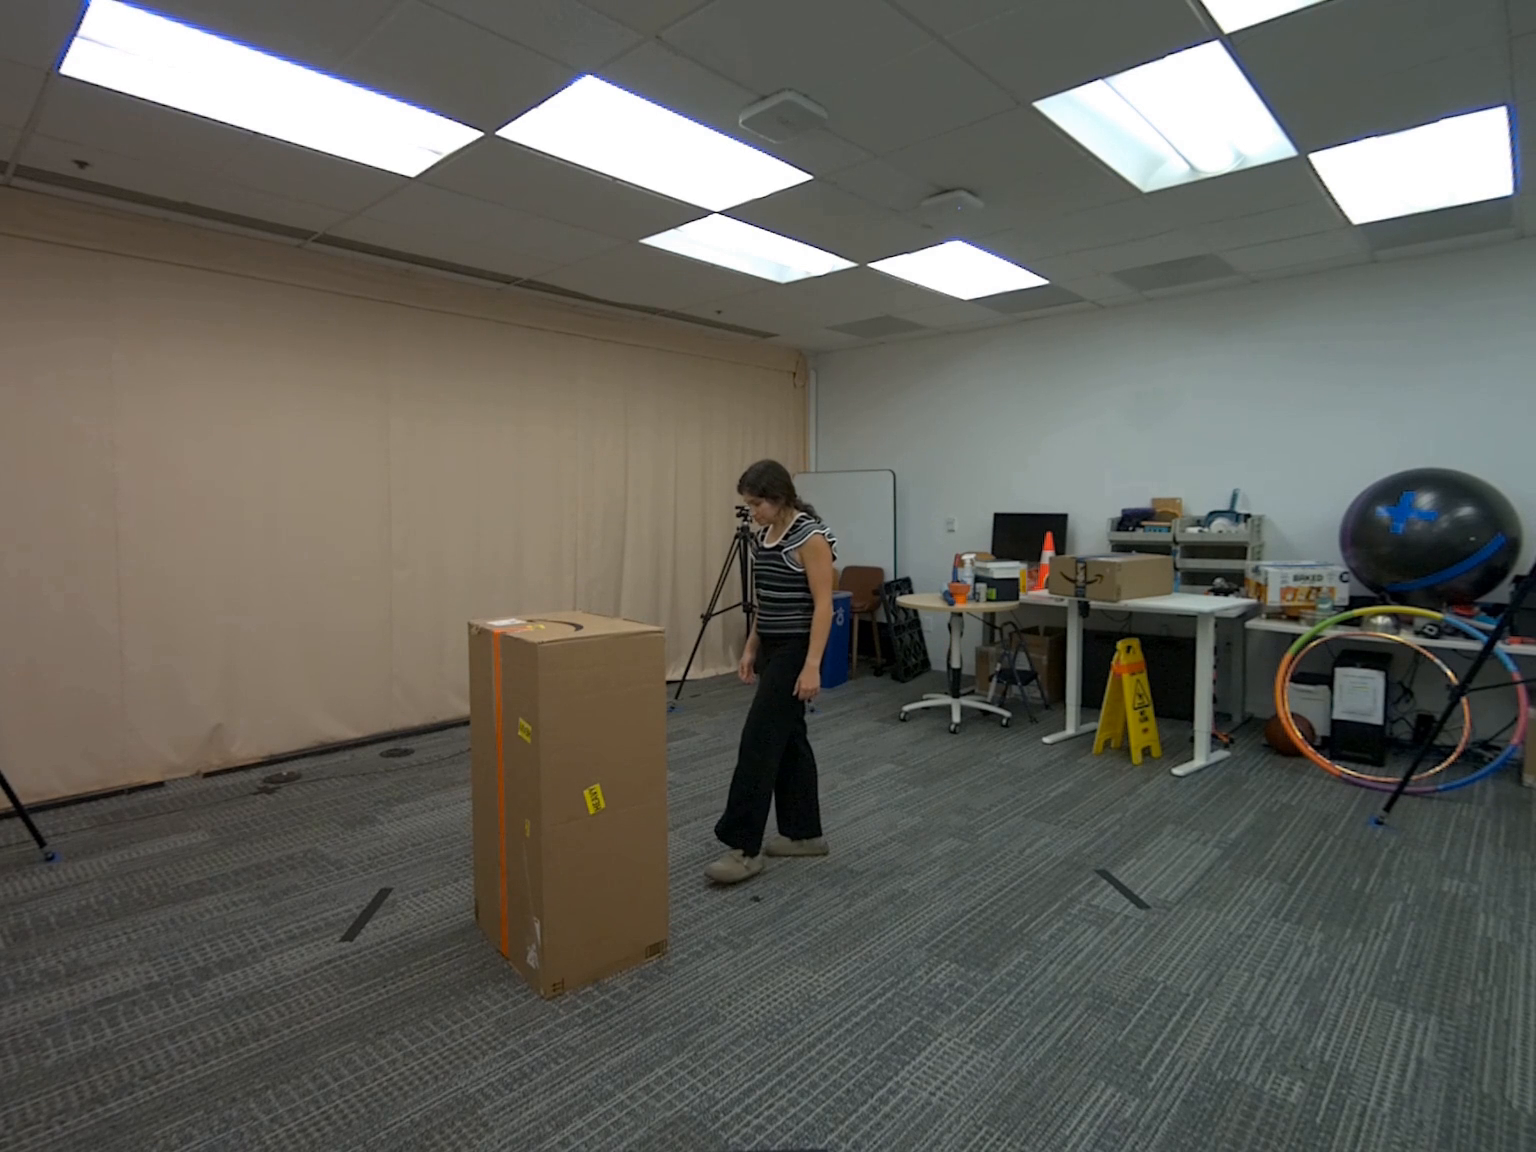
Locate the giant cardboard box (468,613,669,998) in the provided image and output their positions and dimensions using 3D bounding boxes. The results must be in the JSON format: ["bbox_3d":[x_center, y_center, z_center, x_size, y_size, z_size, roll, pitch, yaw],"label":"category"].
[{"bbox_3d":[-0.652,0.664,2.702,0.413,1.024,0.596,-3,4,-38],"label":"giant cardboard box"}]
